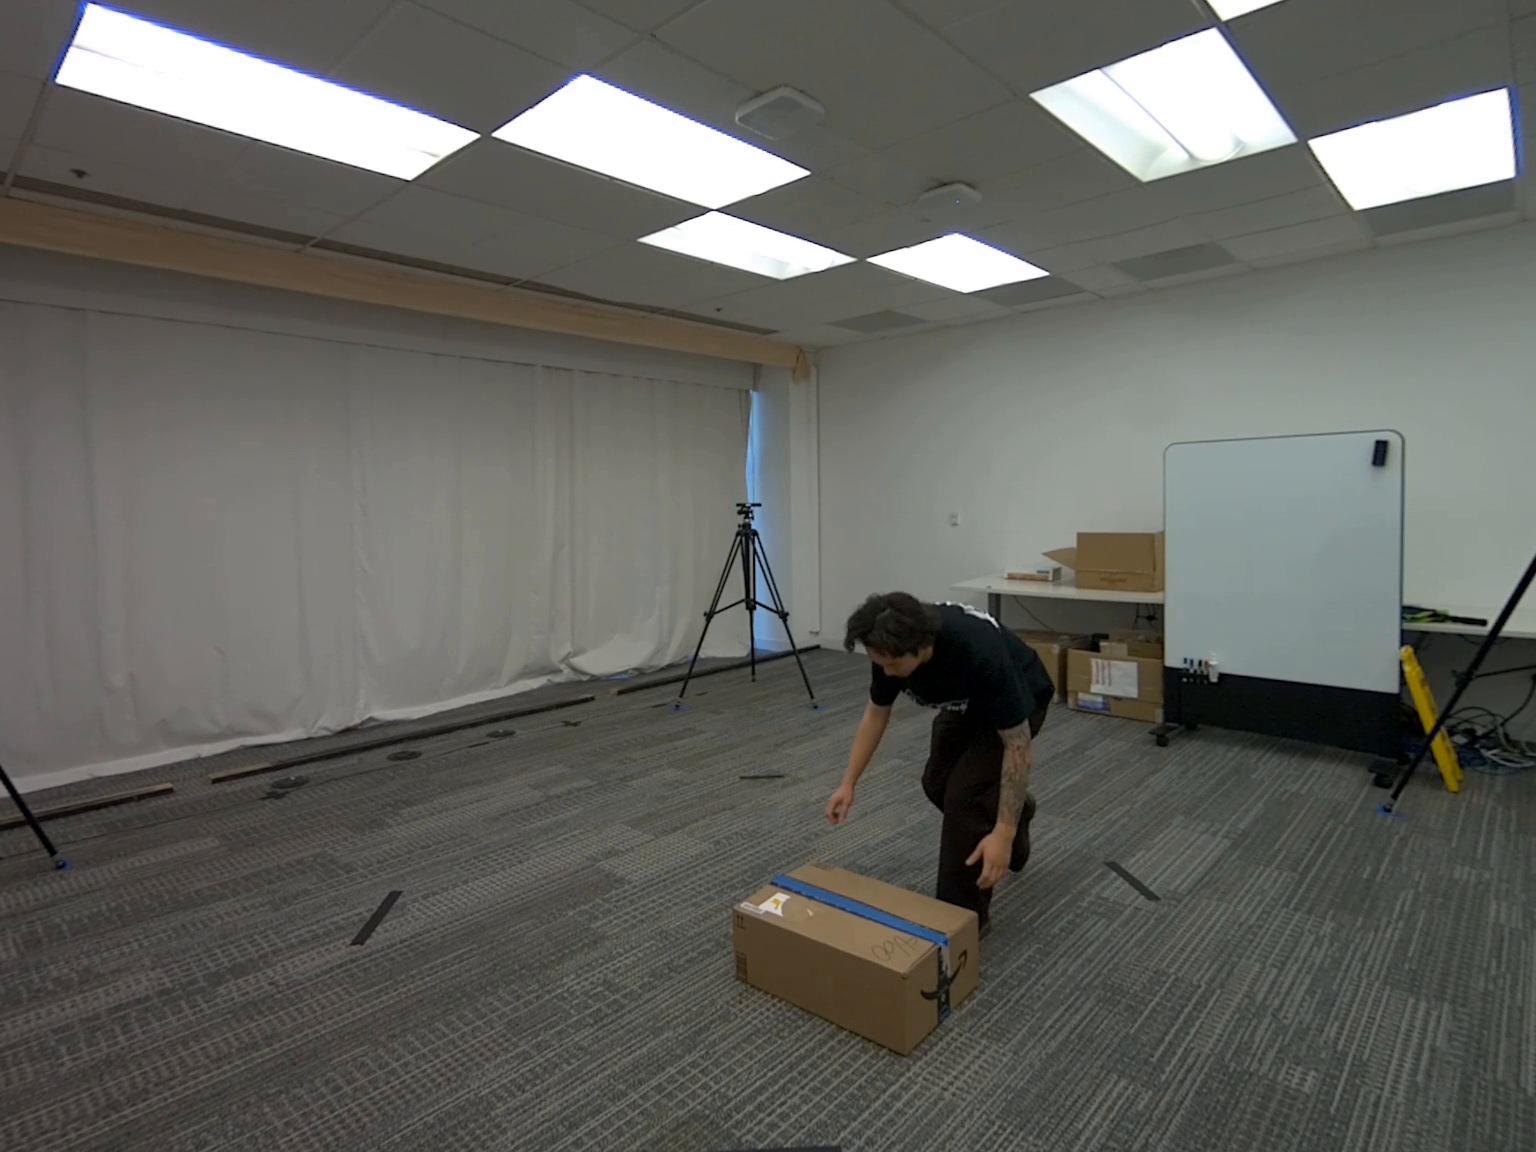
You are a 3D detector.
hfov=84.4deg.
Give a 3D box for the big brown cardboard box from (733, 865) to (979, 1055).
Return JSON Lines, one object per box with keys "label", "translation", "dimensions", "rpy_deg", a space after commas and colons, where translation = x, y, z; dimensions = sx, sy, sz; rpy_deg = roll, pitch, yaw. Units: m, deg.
{"label": "big brown cardboard box", "translation": [0.250, 1.066, 2.440], "dimensions": [0.608, 0.232, 0.405], "rpy_deg": [4, 7, 39]}
